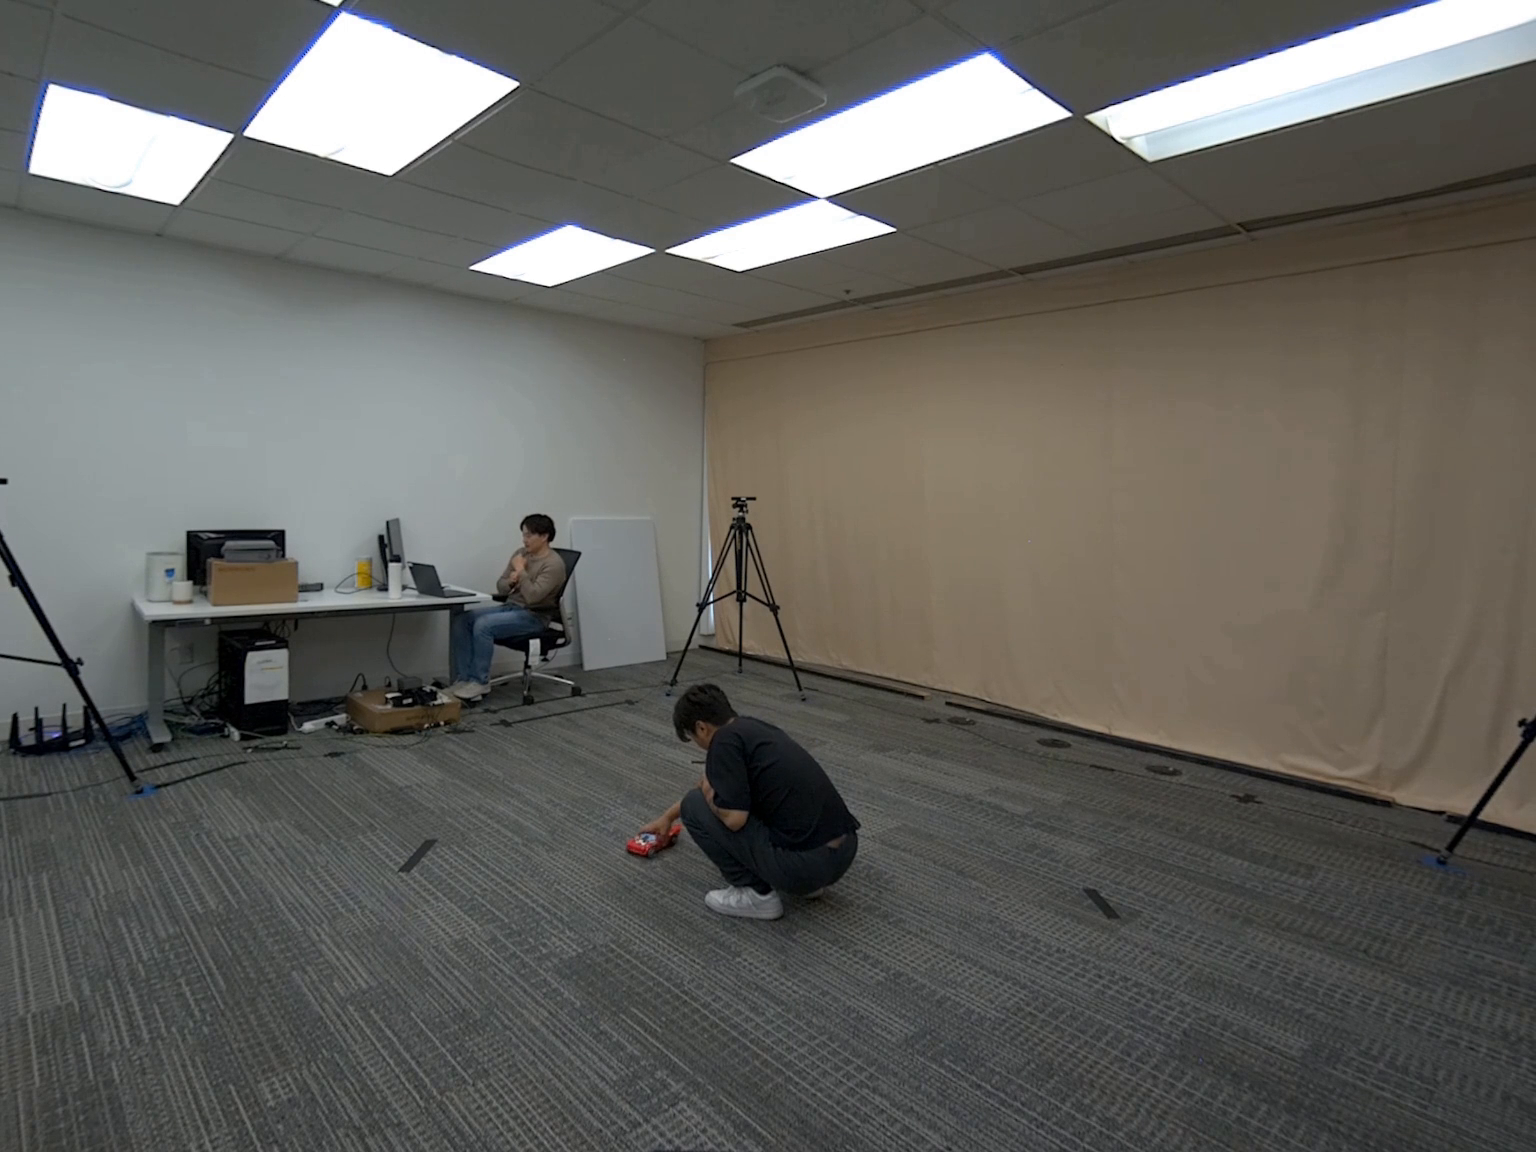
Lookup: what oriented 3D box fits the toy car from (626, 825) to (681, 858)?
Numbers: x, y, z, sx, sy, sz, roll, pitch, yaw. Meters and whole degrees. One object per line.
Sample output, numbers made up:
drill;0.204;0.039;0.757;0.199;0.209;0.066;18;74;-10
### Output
toy car;-0.452;1.047;3.352;0.133;0.082;0.251;3;16;32
